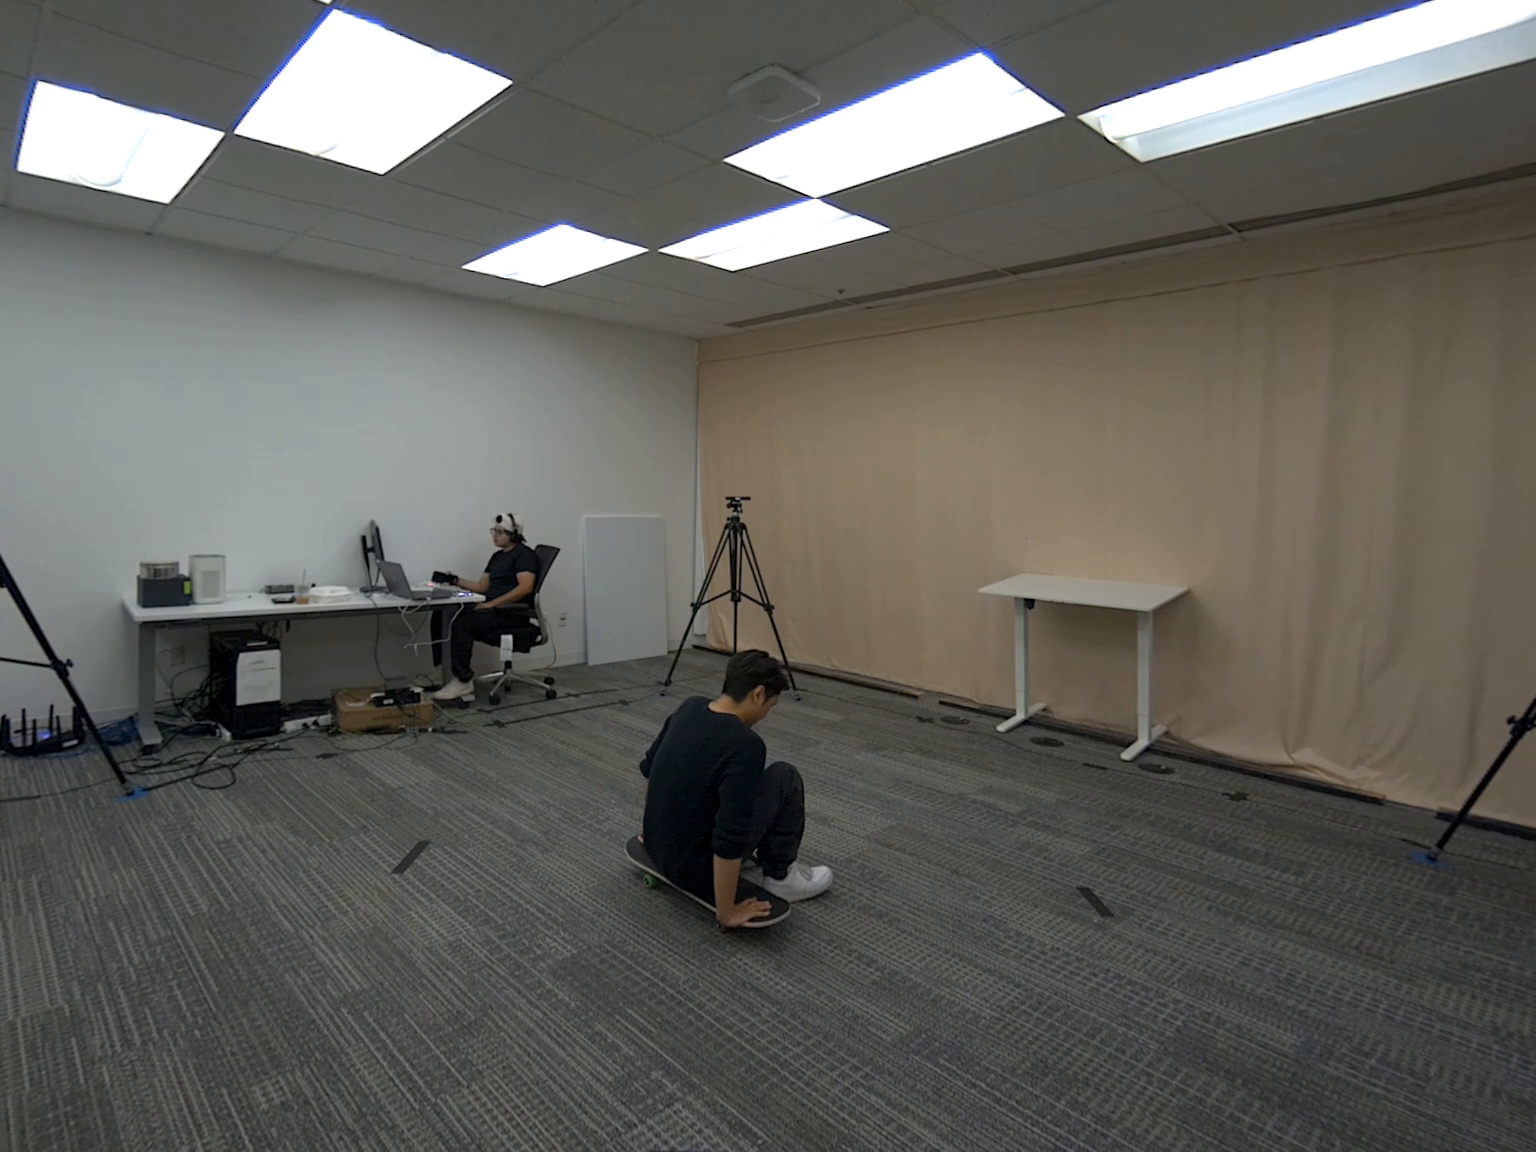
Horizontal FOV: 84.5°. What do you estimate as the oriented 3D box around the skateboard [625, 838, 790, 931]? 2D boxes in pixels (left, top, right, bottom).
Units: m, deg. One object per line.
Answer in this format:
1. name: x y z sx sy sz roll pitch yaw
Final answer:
1. skateboard: -0.230 1.075 2.900 0.189 0.110 0.806 -8 10 -42
